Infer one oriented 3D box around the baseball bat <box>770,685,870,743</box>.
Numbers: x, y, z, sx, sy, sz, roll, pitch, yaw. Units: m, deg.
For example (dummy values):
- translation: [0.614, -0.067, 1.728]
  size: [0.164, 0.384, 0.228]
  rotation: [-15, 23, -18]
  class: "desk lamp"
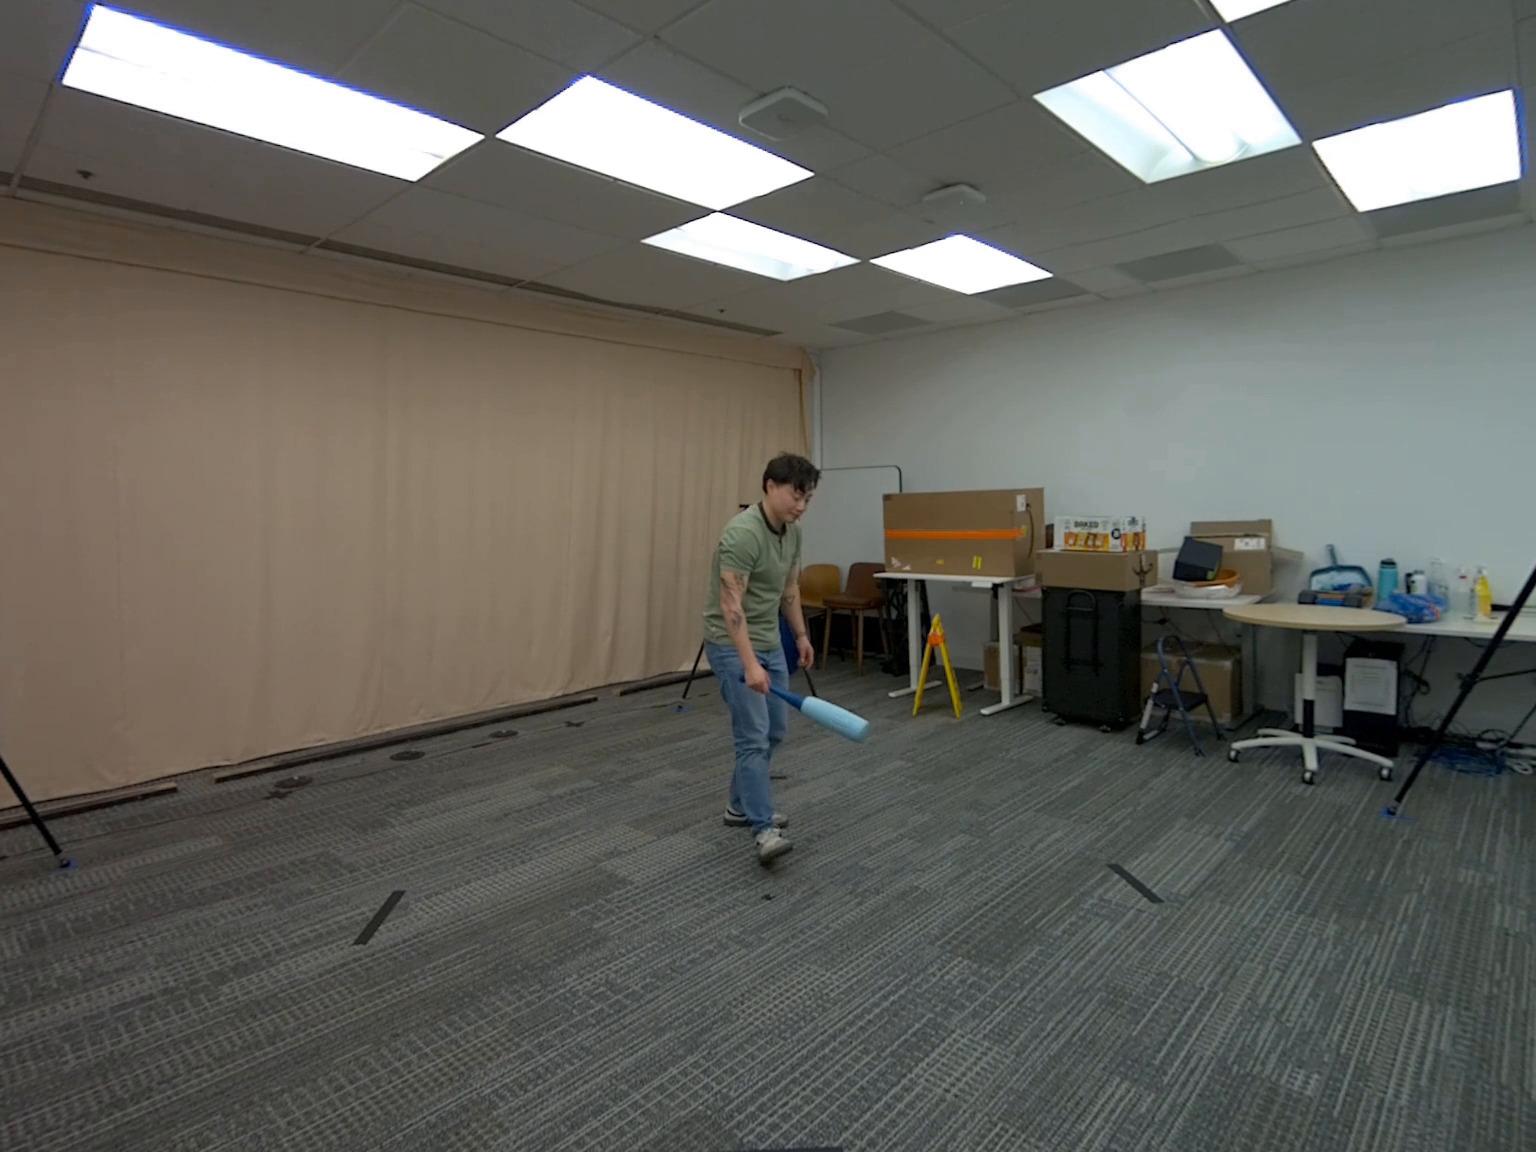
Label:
- translation: [0.129, 0.486, 3.097]
  size: [0.560, 0.088, 0.087]
  rotation: [18, 13, 28]
  class: "baseball bat"
